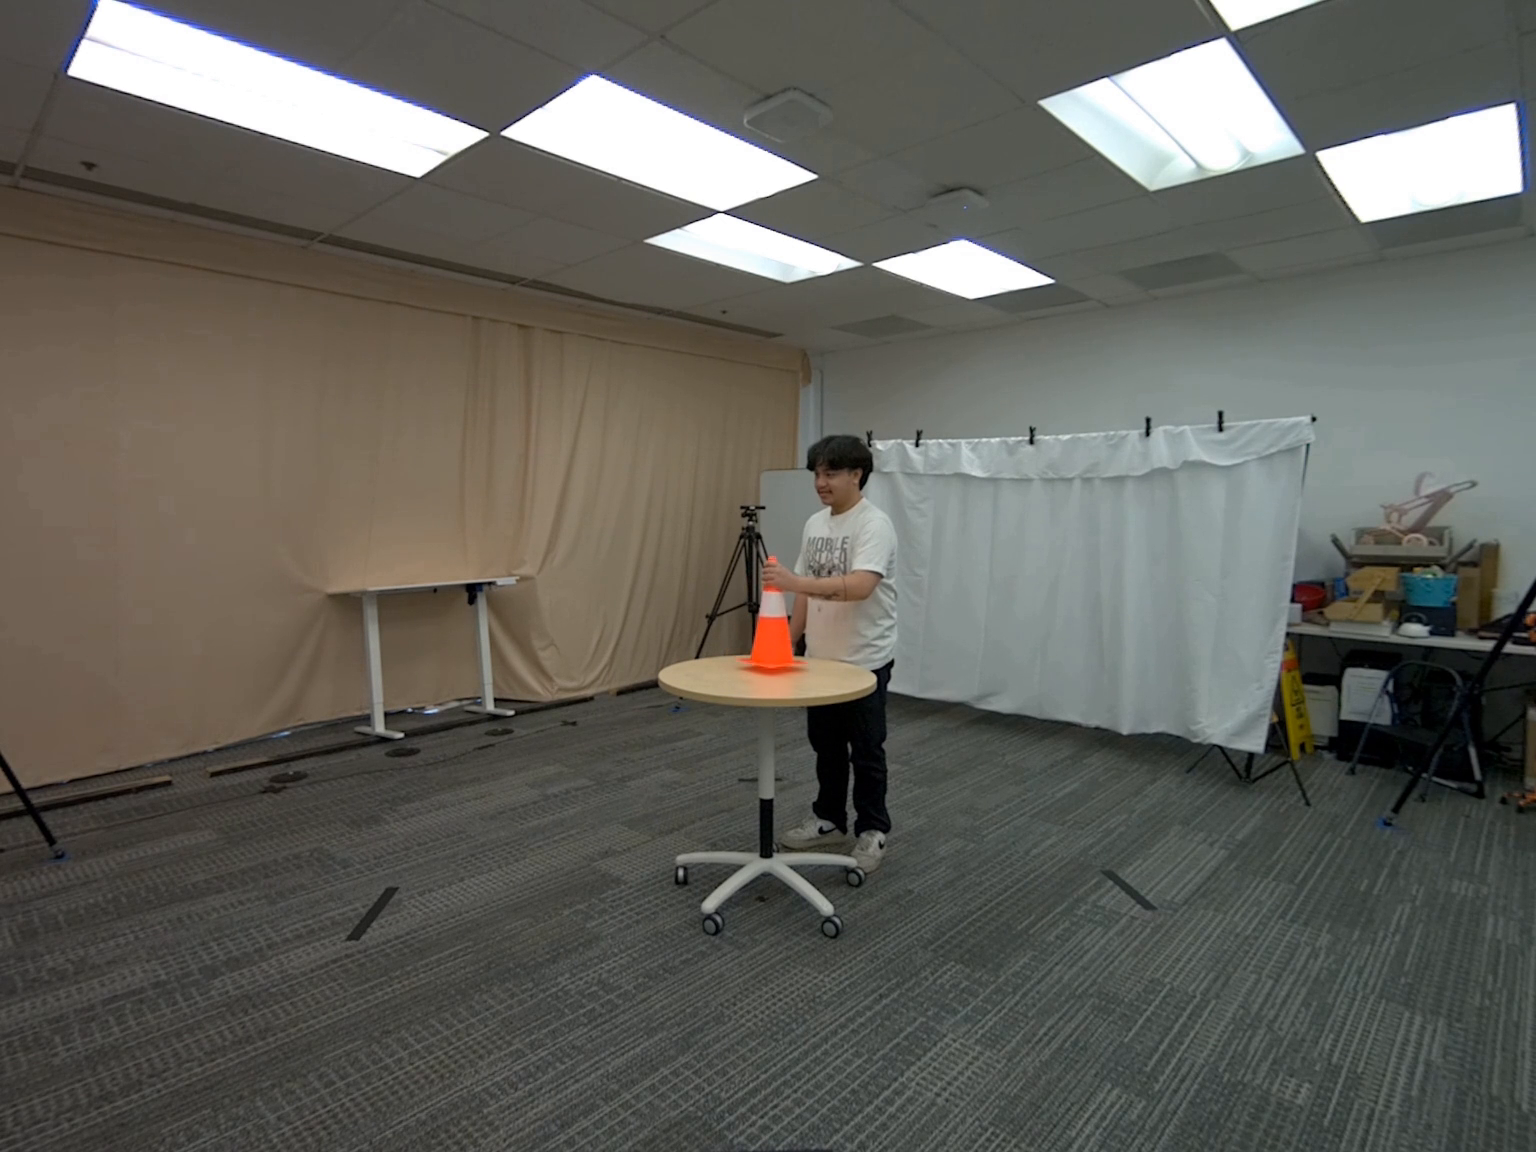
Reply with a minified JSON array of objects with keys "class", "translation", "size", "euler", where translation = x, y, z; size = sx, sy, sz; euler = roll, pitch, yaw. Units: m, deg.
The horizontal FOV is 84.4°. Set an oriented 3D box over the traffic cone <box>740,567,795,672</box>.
[{"class":"traffic cone","translation":[0.018,0.125,3.070],"size":[0.211,0.383,0.197],"euler":[2,1,38]}]
